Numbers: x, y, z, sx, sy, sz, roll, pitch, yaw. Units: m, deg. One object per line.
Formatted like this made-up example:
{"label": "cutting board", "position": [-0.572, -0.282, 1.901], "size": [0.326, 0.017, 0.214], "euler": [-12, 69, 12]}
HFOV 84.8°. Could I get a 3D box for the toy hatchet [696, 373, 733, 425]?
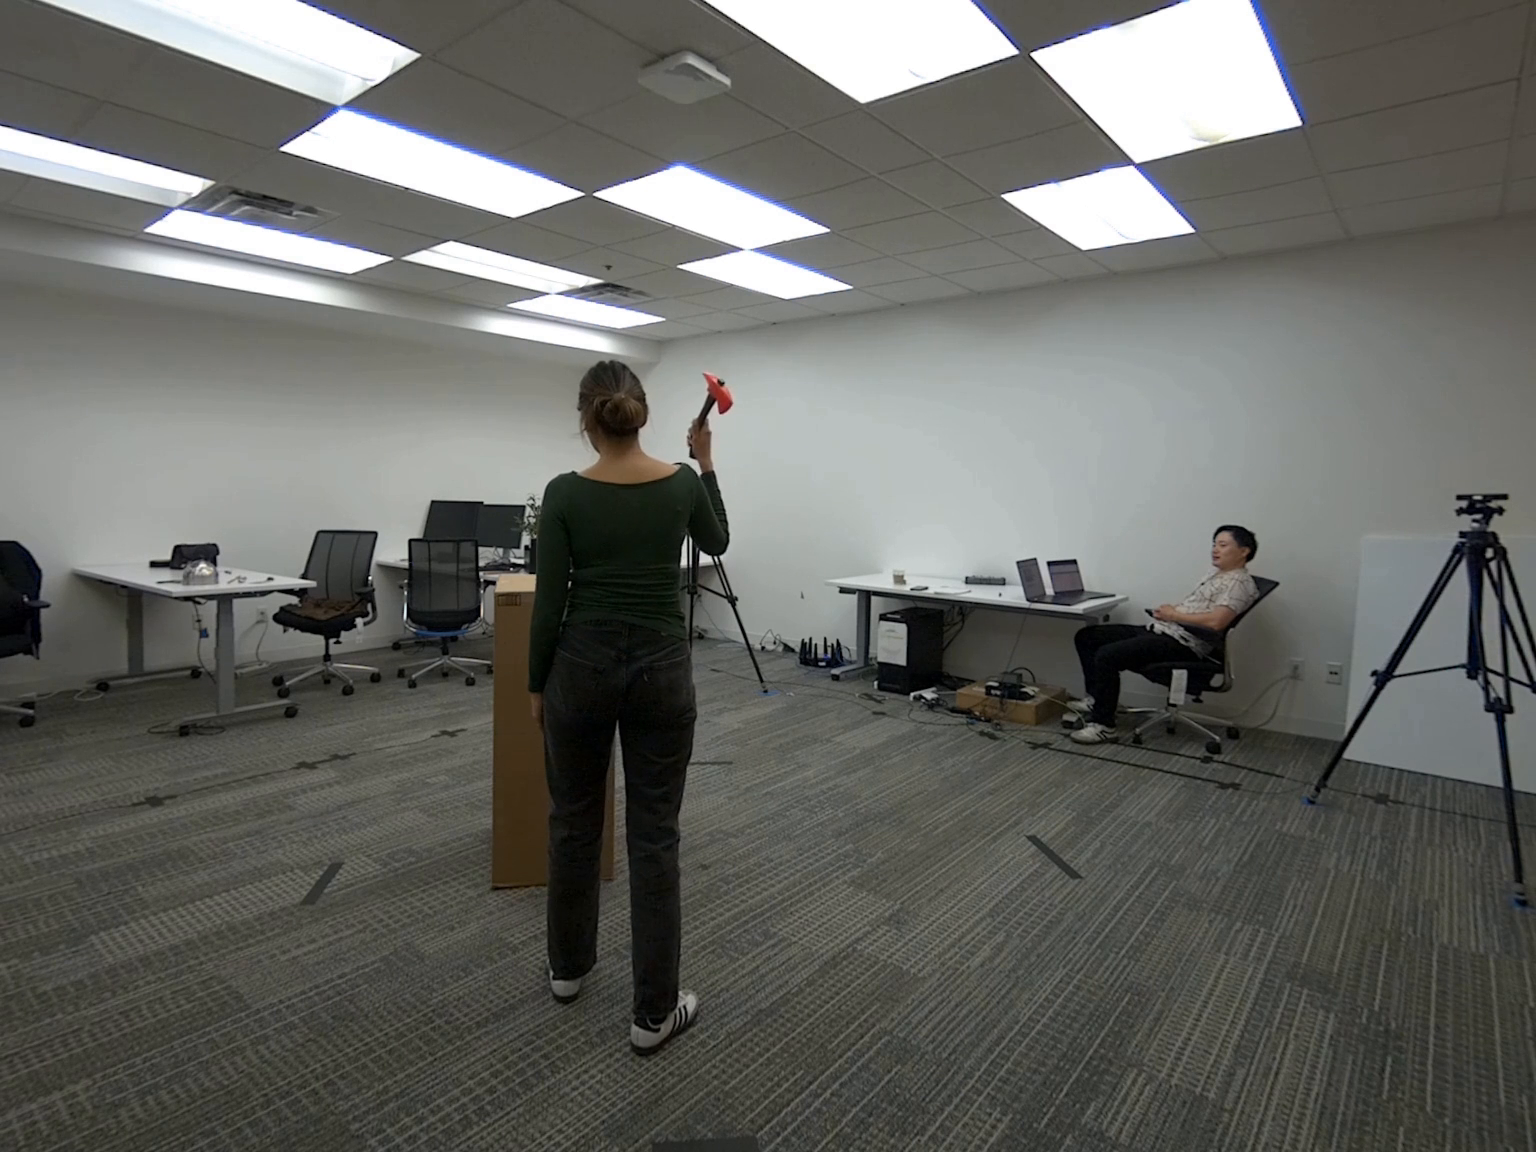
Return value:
{"label": "toy hatchet", "position": [-0.186, -0.435, 2.437], "size": [0.136, 0.266, 0.029], "euler": [34, 33, 31]}
